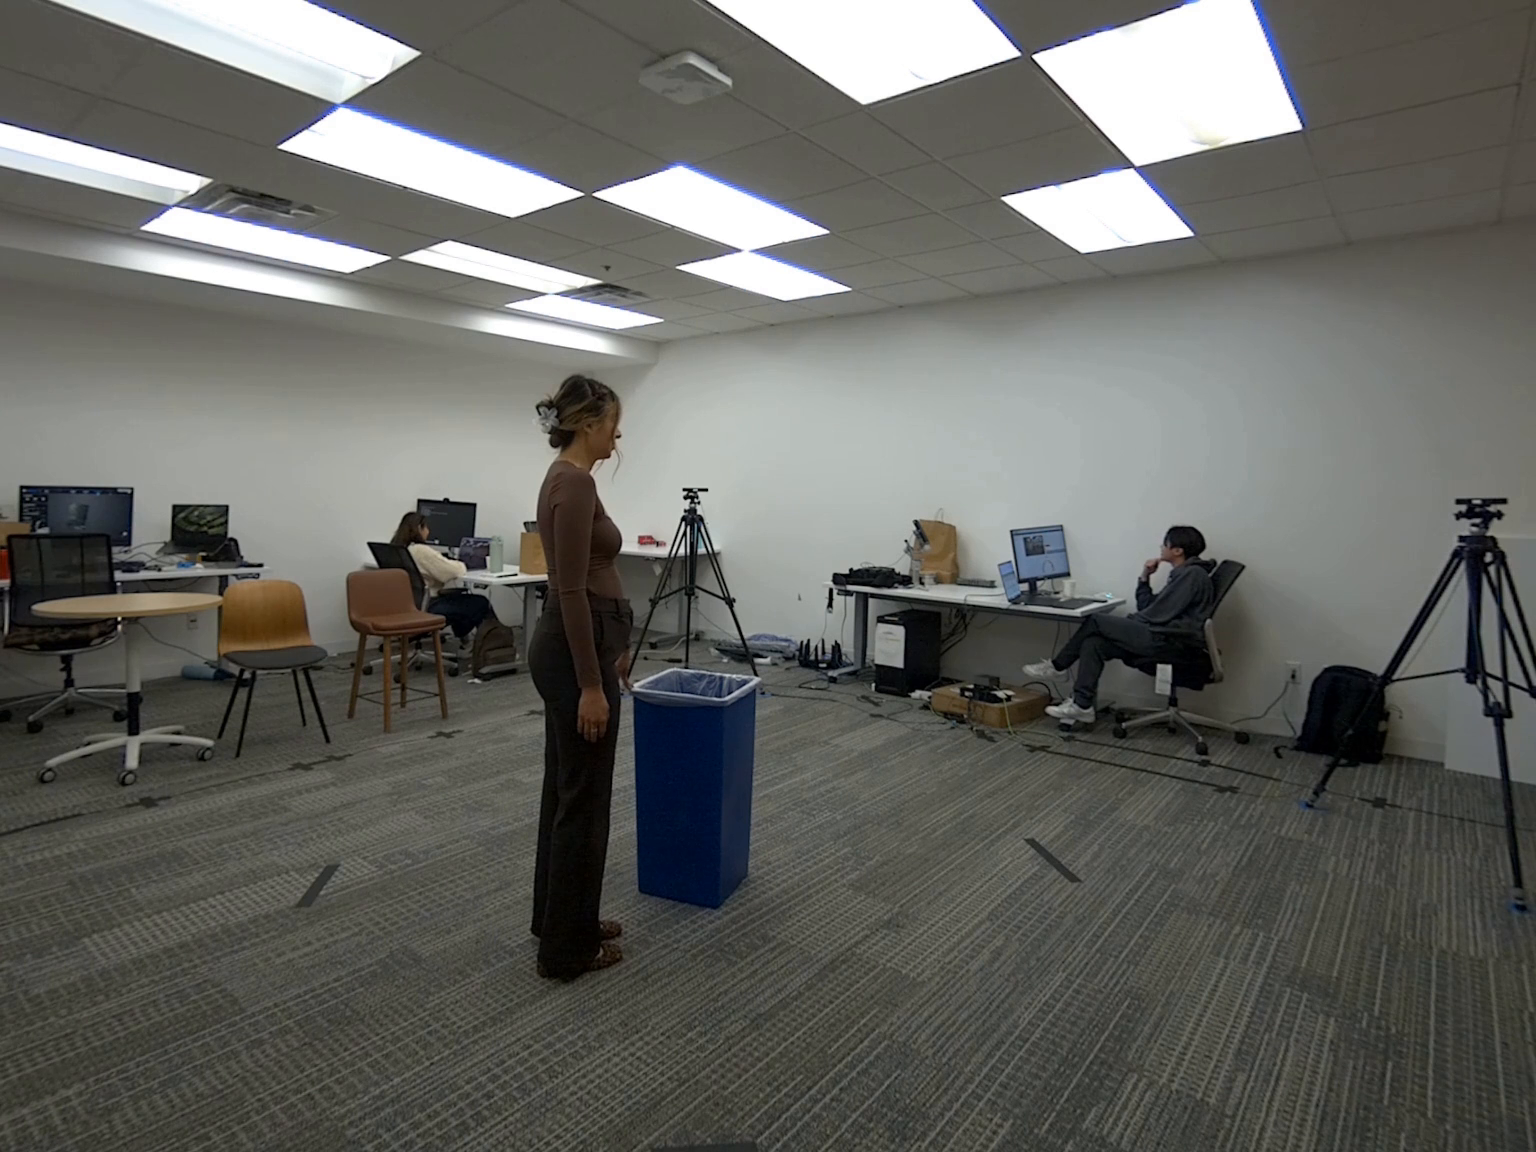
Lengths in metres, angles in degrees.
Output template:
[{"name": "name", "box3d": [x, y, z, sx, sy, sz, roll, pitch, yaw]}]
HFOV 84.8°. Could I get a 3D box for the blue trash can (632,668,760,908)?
[{"name": "blue trash can", "box3d": [-0.262, 0.722, 2.977, 0.387, 0.712, 0.366, 2, 3, 21]}]
